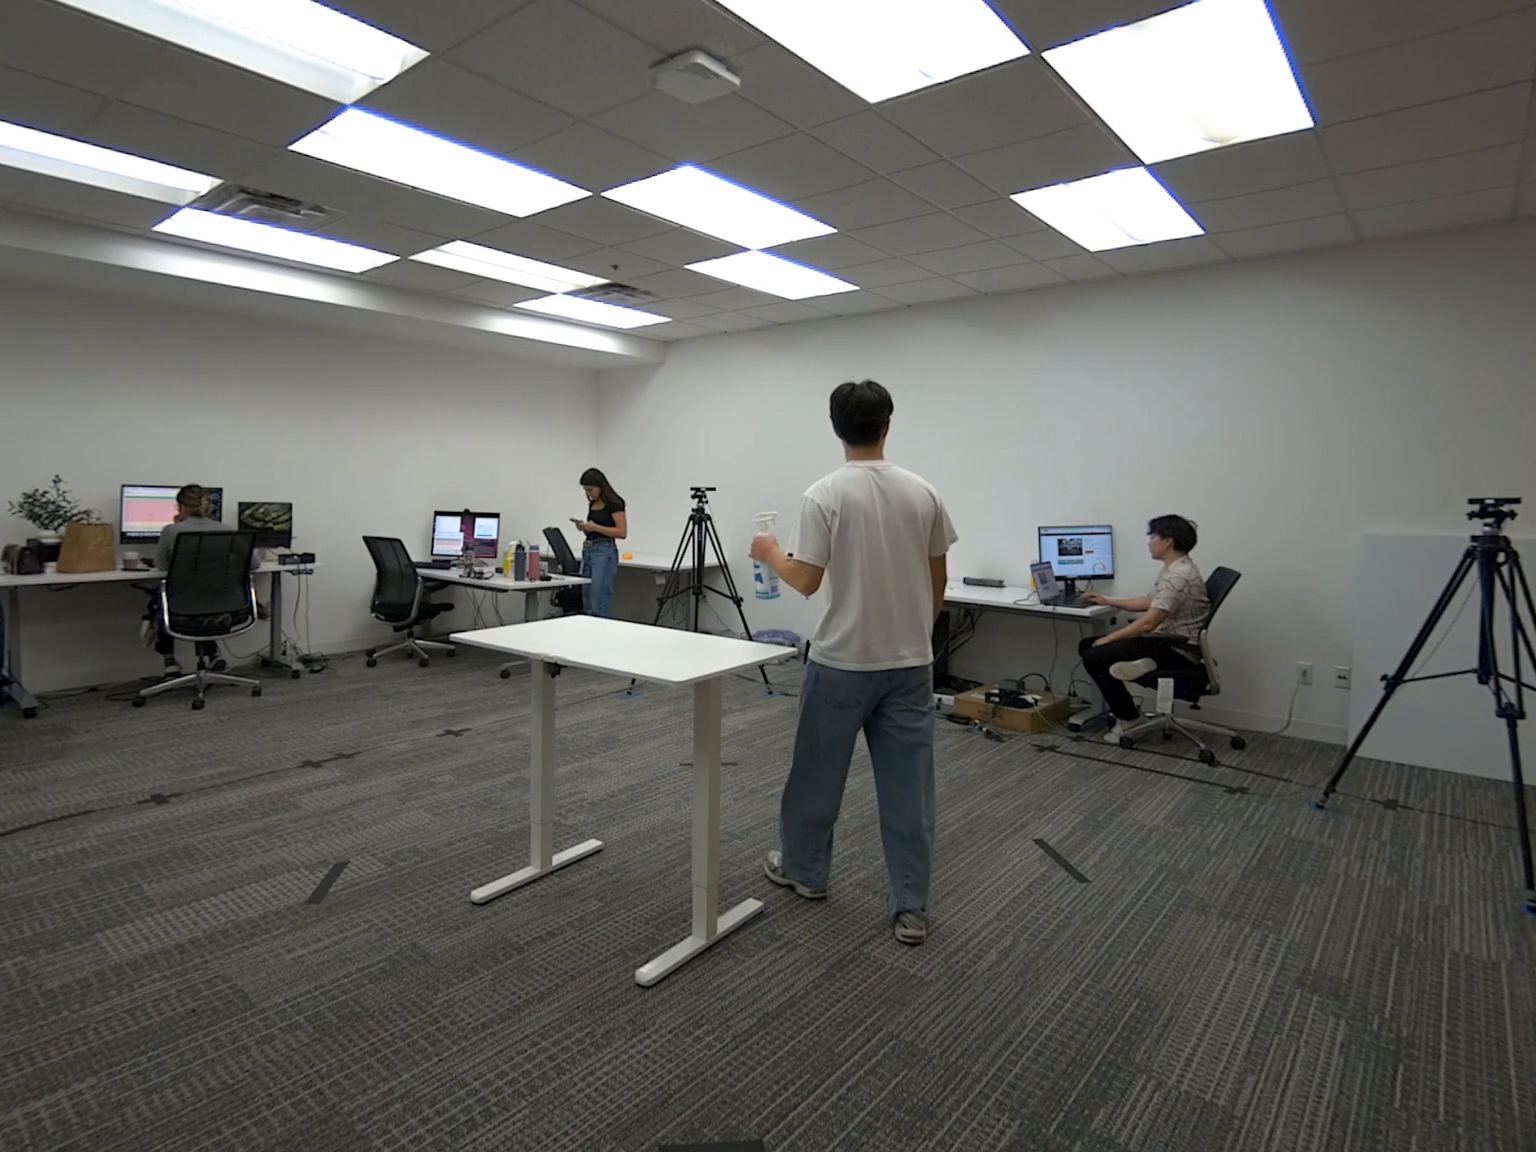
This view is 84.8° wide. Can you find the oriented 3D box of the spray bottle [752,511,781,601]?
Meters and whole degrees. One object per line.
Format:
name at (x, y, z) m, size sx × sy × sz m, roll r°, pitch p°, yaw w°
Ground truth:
spray bottle at (-0.017, -0.071, 2.943) m, size 0.092 × 0.295 × 0.085 m, roll 2°, pitch 7°, yaw 28°
